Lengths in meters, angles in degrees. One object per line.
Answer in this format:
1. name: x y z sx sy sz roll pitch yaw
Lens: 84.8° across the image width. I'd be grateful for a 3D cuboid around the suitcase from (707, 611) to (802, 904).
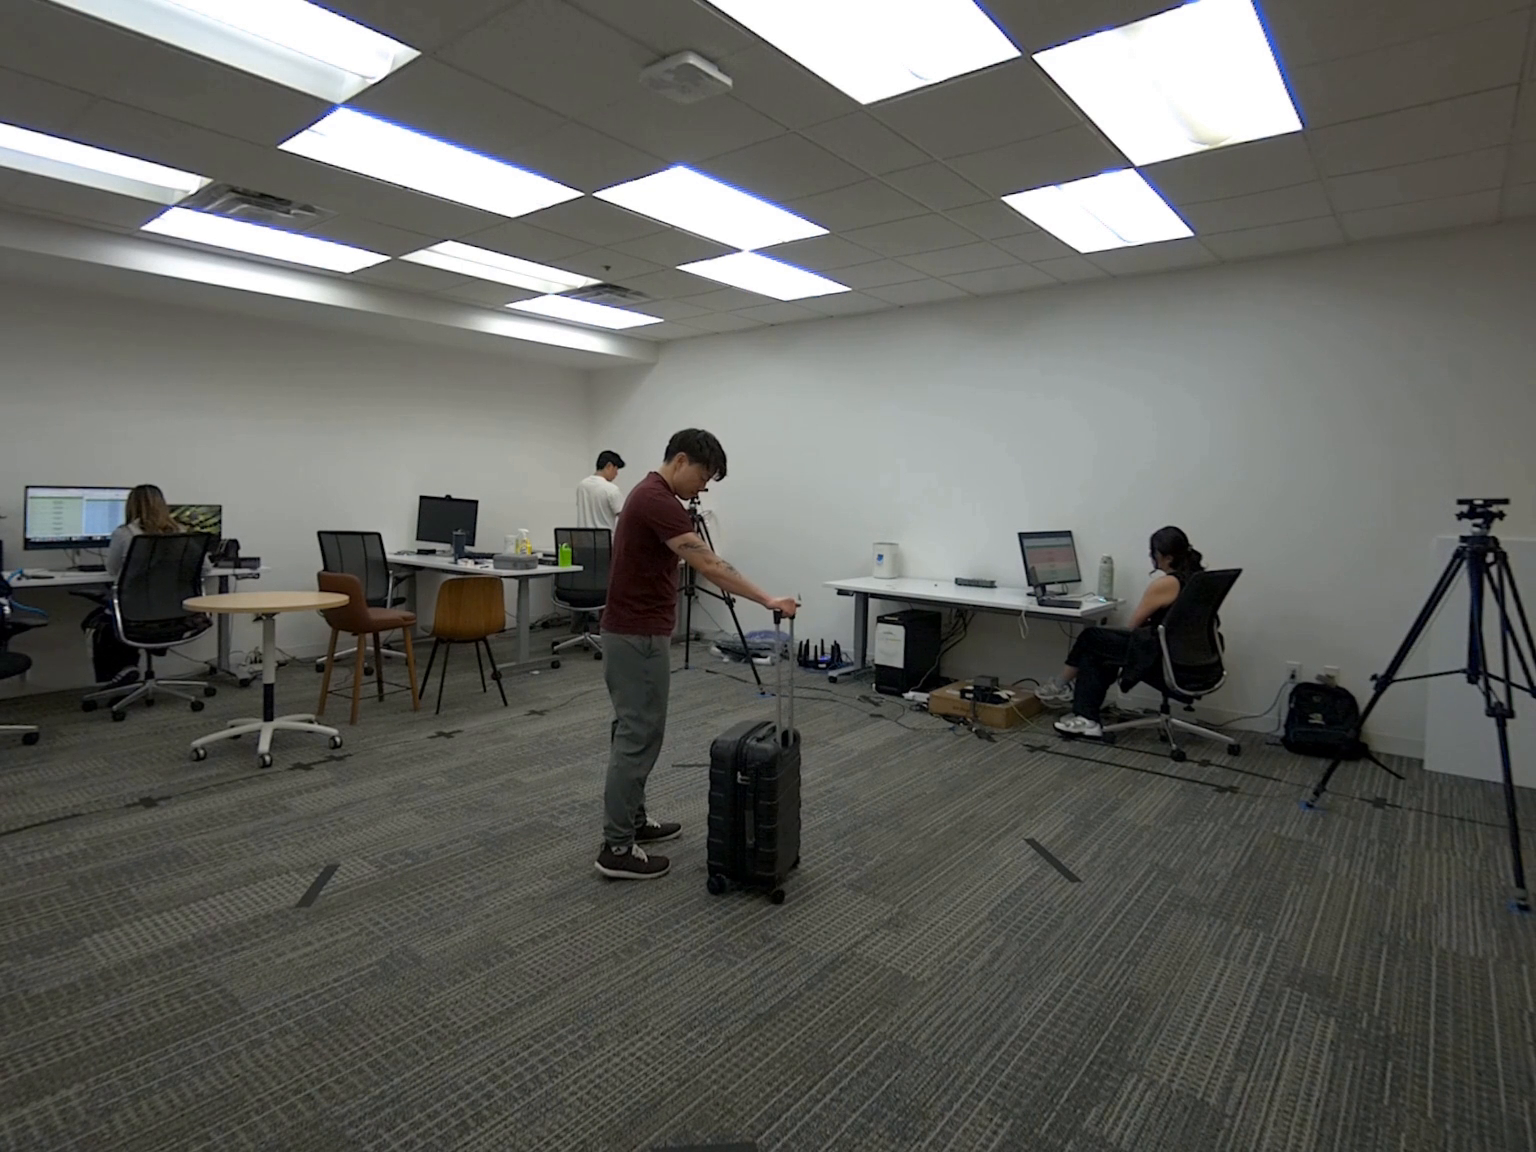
1. suitcase: -0.055 0.604 3.017 0.262 0.977 0.377 -1 2 17
